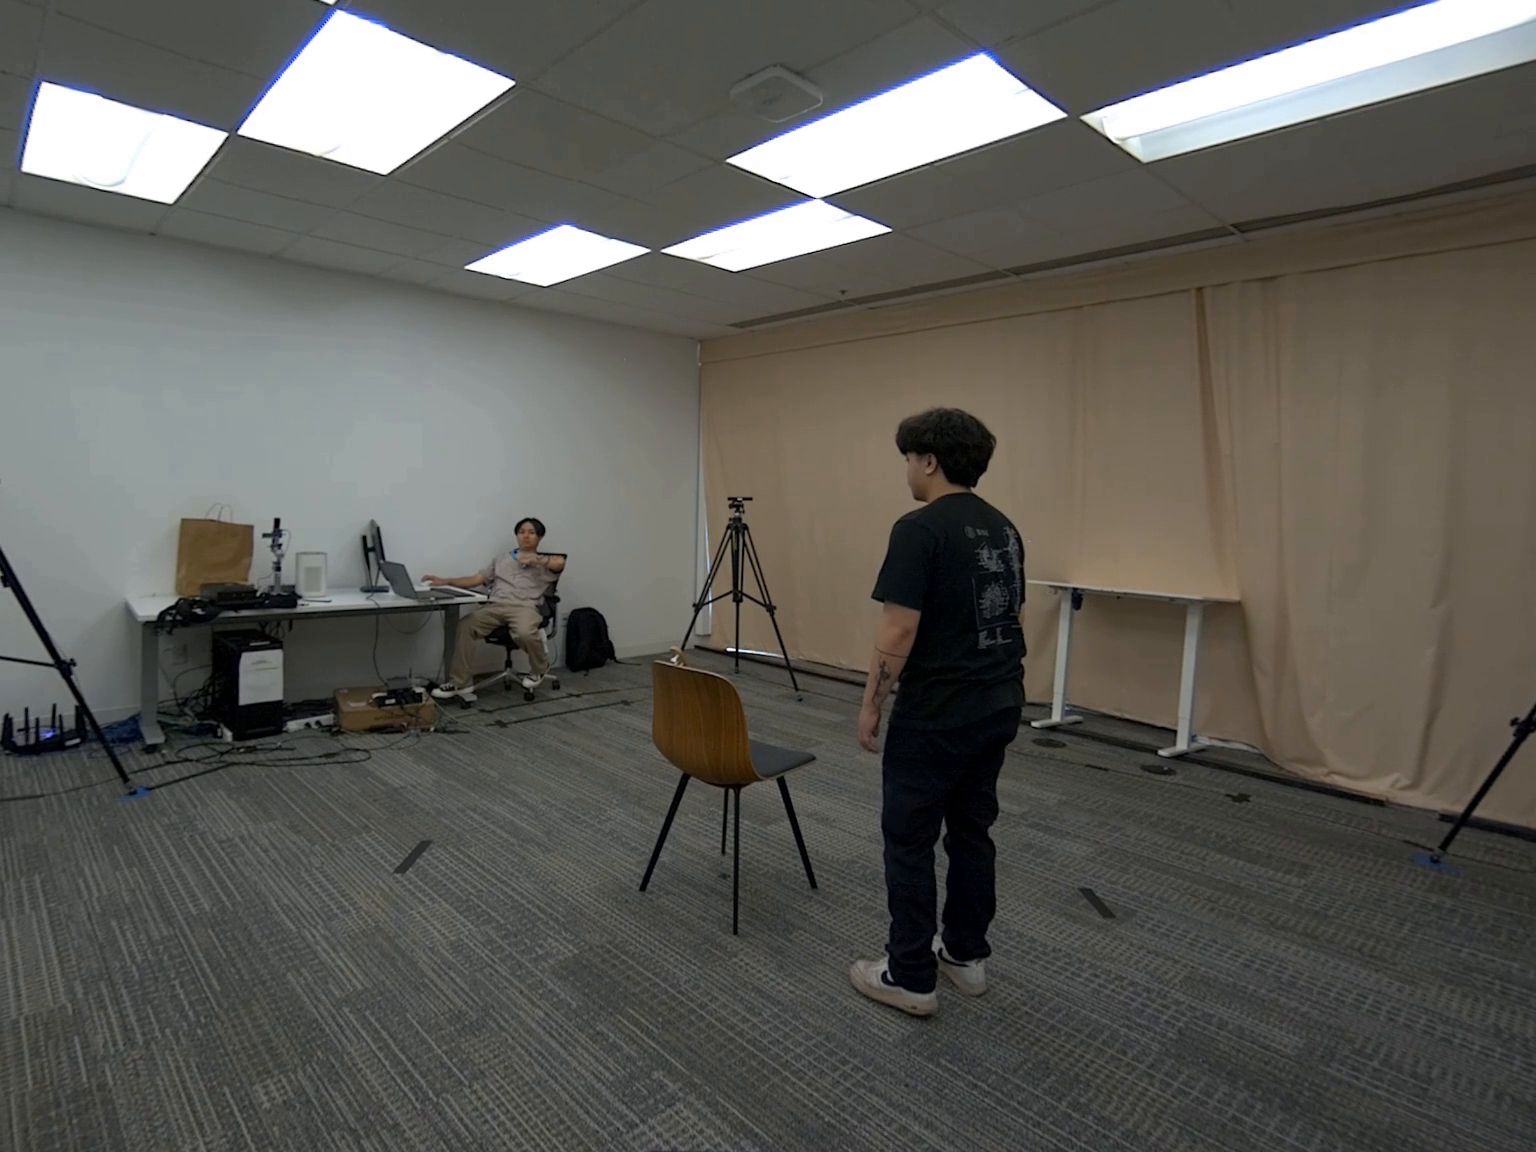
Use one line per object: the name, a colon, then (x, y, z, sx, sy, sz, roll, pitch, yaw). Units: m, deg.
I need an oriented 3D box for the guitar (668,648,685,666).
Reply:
guitar: (-0.251, 0.440, 2.885, 0.197, 0.486, 0.070, 1, 39, 47)
